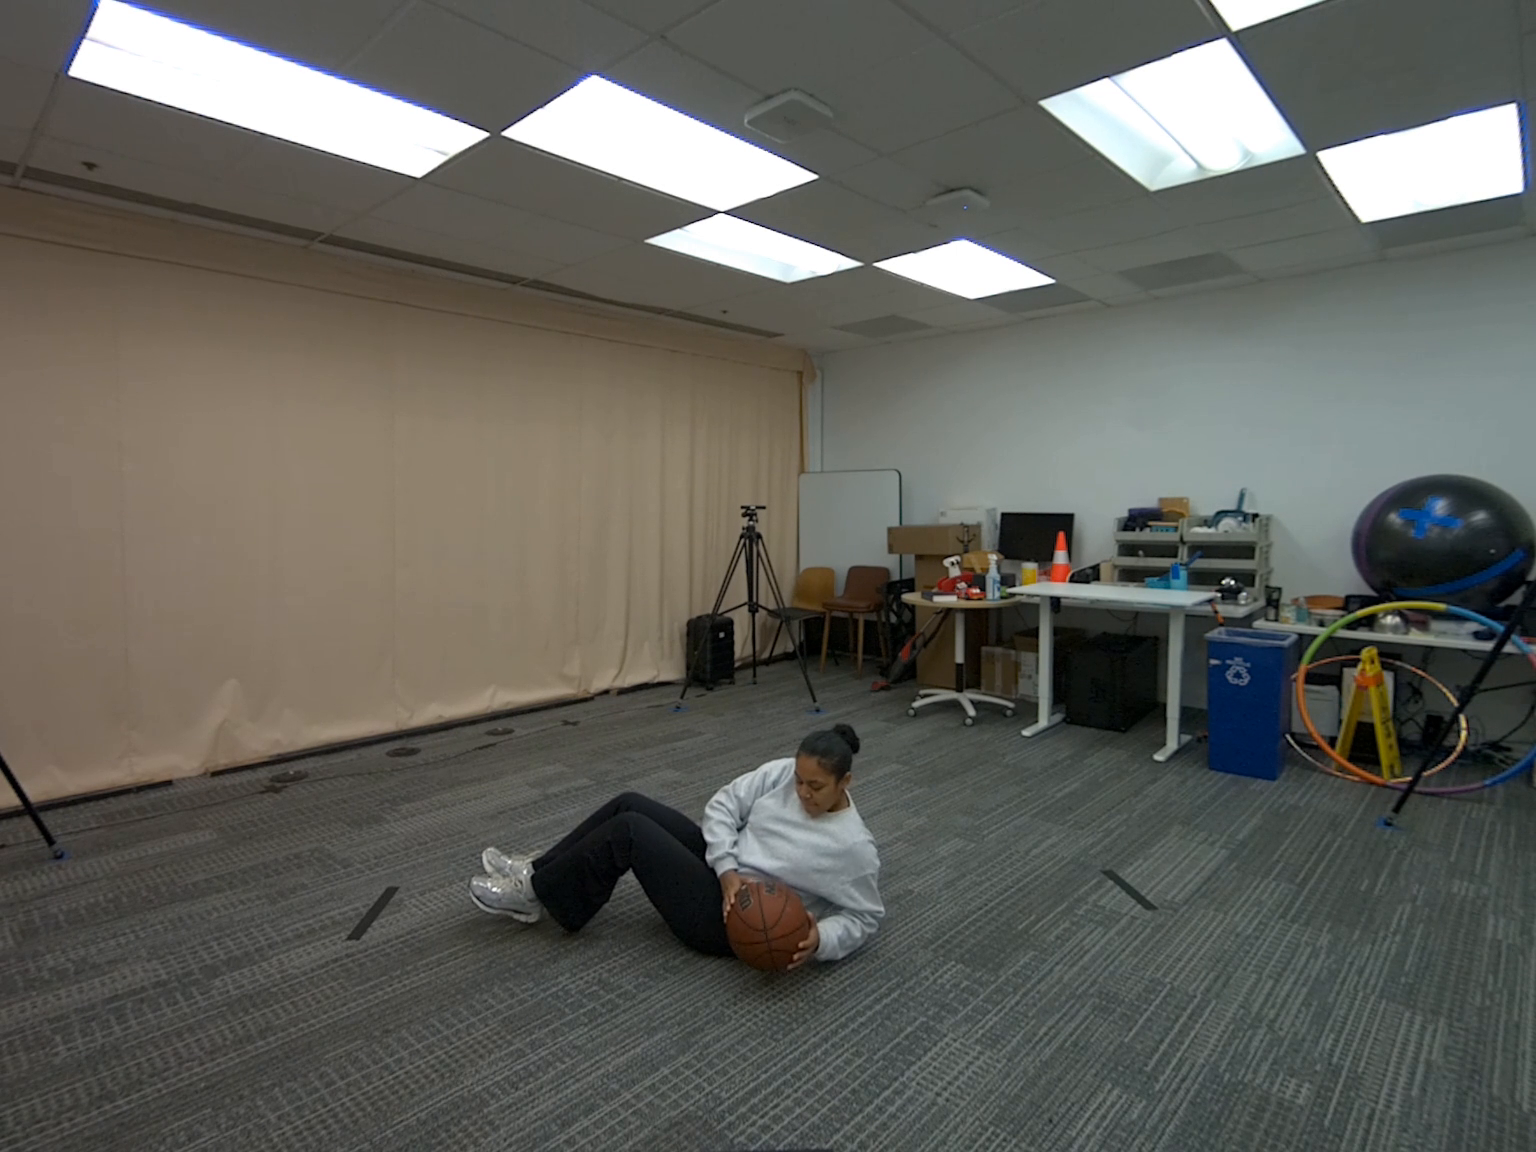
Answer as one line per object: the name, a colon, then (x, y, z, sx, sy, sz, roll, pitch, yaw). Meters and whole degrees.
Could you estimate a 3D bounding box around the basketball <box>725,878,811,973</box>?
basketball: (-0.004, 0.983, 2.432, 0.236, 0.235, 0.237, 0, 4, -2)
